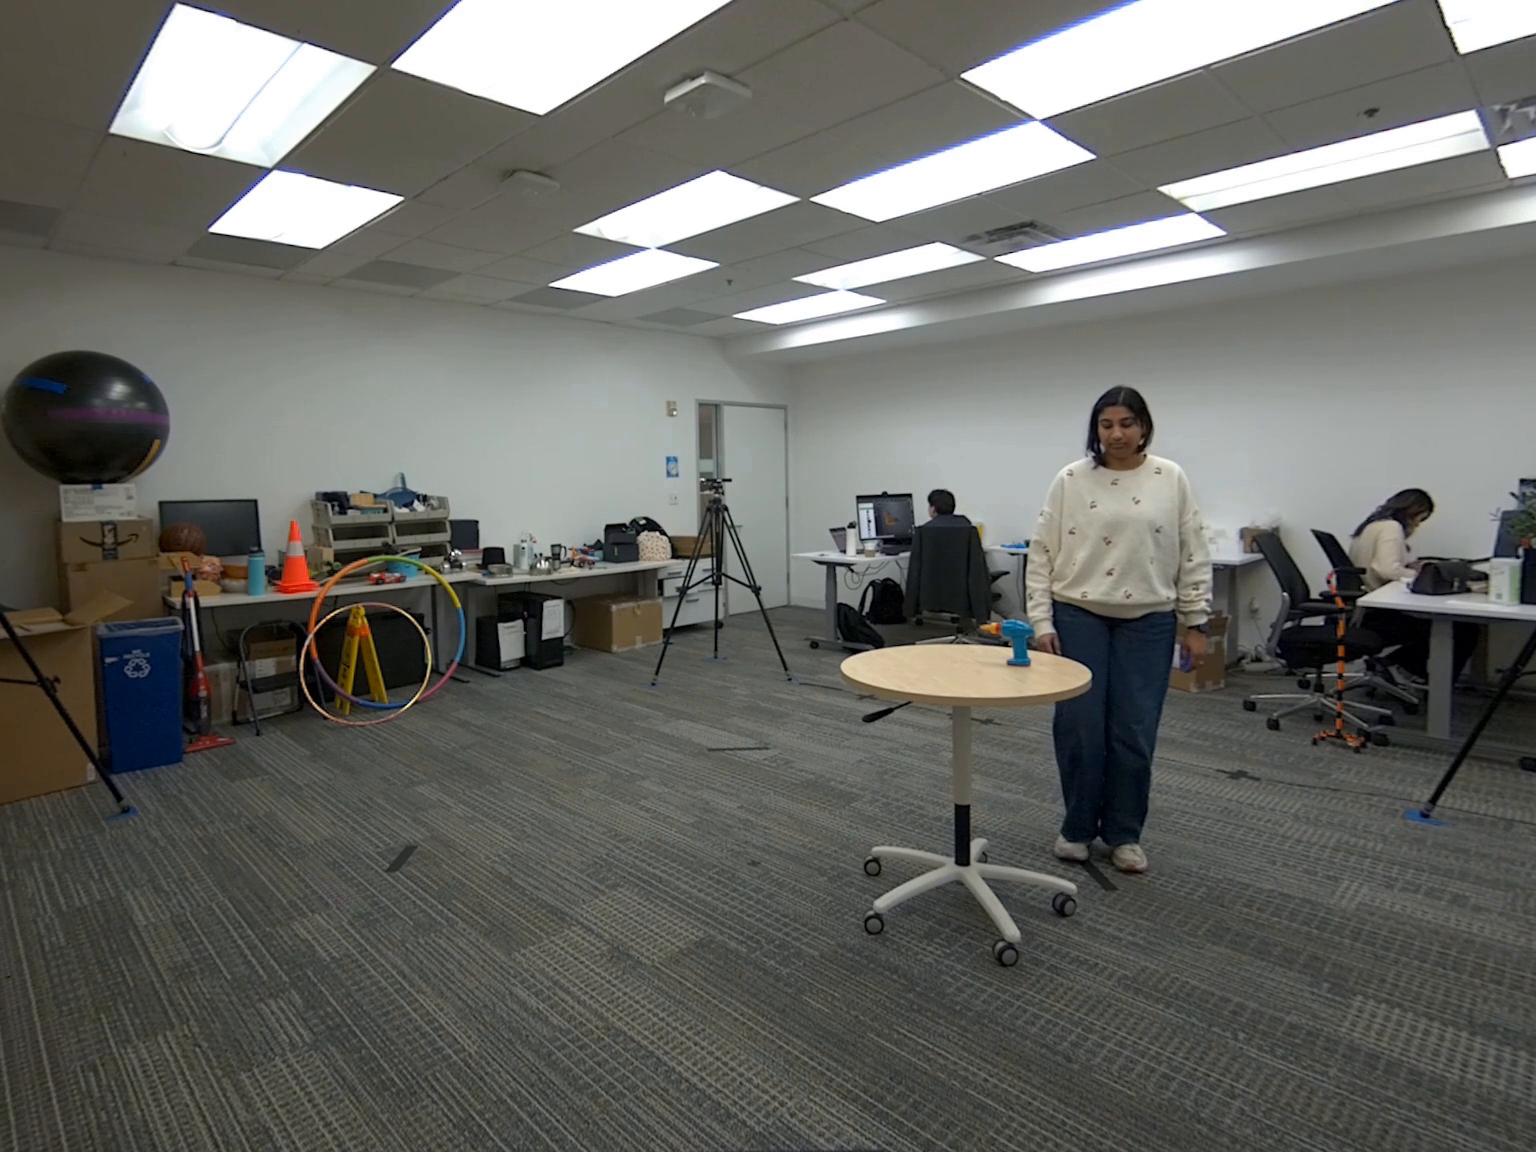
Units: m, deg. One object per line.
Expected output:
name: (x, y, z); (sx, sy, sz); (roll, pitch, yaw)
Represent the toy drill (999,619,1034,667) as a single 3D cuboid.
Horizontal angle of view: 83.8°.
toy drill: (0.781, 0.212, 2.748); (0.174, 0.145, 0.060); (3, 7, 29)
